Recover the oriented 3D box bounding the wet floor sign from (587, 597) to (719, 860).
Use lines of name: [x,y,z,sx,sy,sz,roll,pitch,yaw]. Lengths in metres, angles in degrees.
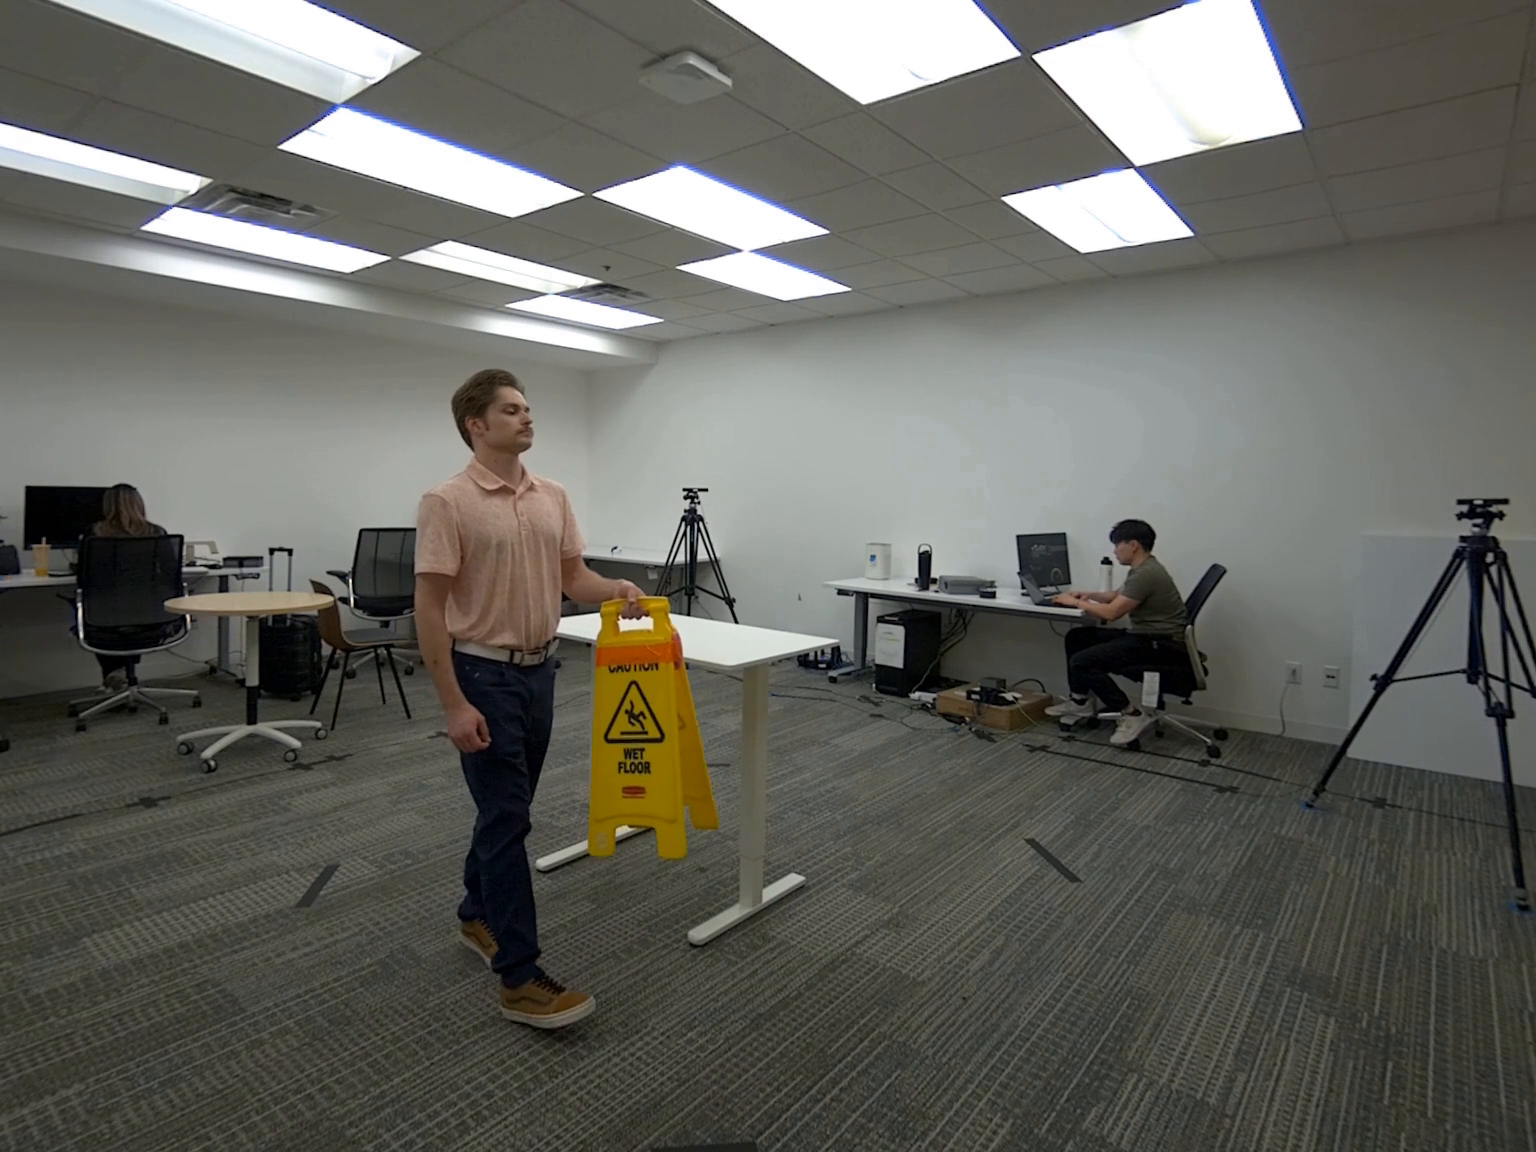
wet floor sign: [-0.339,0.386,2.274,0.287,0.647,0.285,-7,-2,16]
